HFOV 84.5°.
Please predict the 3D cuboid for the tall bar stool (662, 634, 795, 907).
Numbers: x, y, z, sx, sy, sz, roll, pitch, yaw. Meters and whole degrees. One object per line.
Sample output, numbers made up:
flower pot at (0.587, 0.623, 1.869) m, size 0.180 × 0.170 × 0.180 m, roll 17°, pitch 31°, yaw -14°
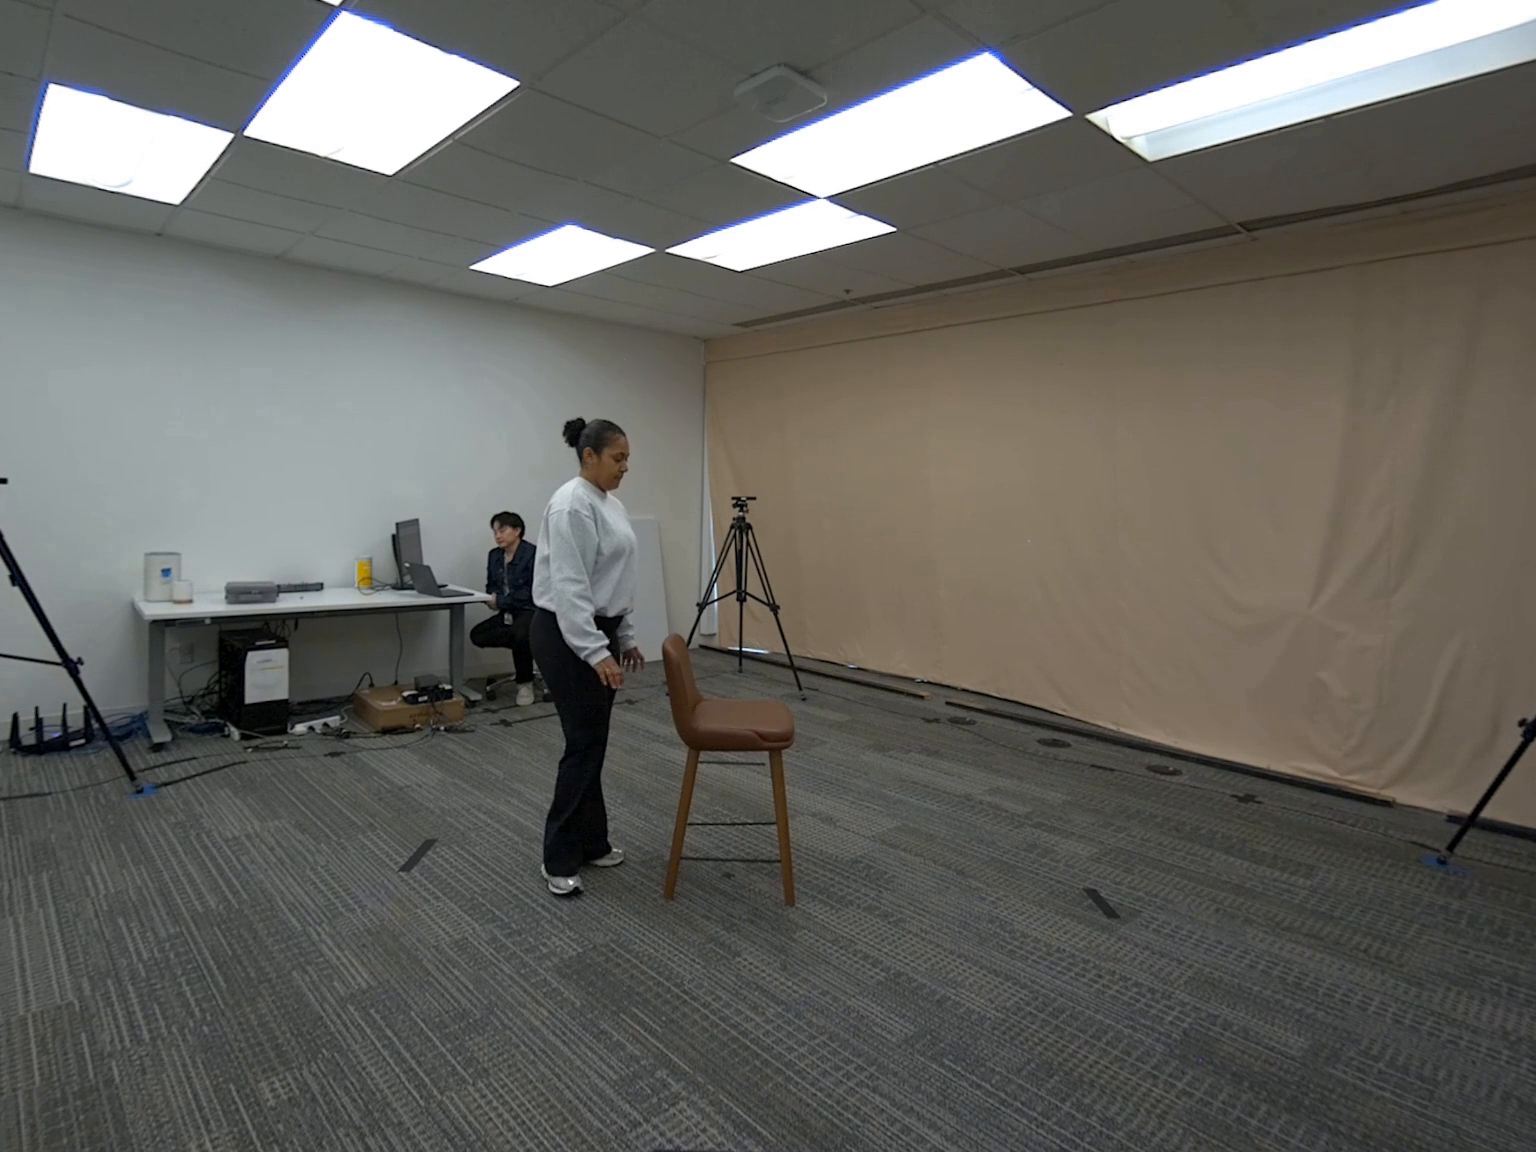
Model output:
tall bar stool at (-0.152, 0.675, 3.065) m, size 0.468 × 0.887 × 0.457 m, roll -1°, pitch 4°, yaw 0°
